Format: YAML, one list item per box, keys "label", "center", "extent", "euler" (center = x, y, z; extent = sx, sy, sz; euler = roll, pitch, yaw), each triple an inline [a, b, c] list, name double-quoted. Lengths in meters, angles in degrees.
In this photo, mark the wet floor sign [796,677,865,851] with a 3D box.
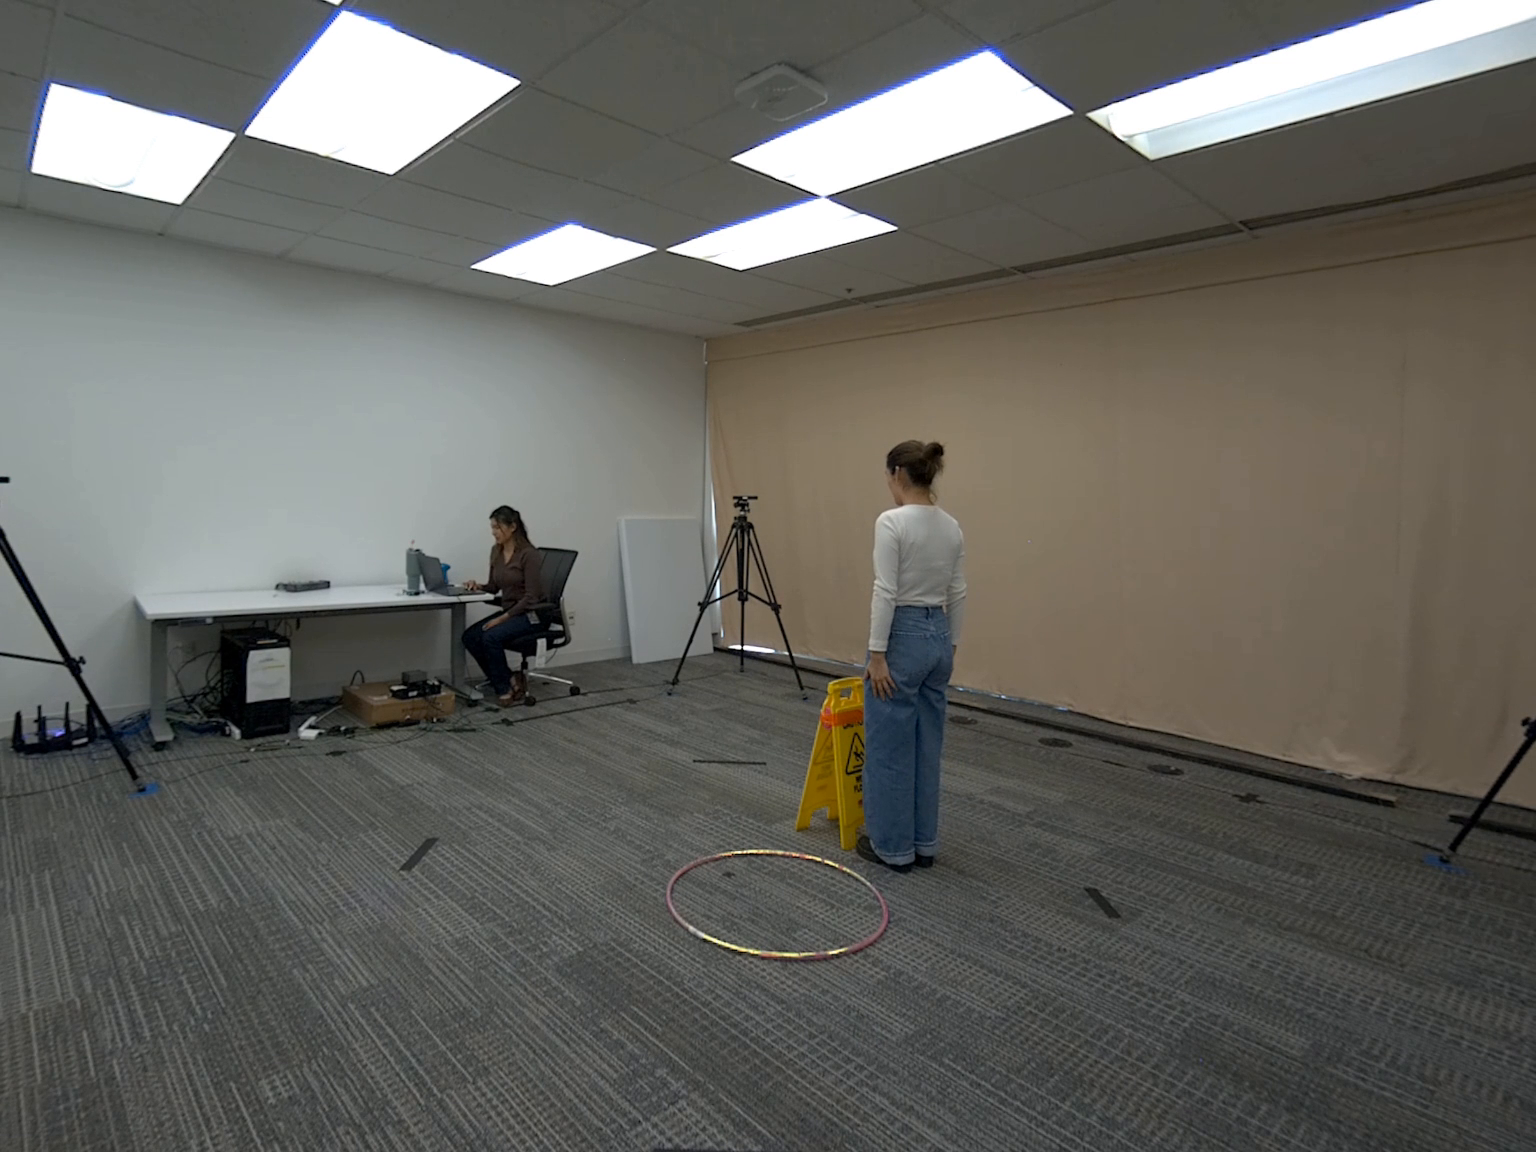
- label: "wet floor sign"
  center: [0.307, 0.753, 3.518]
  extent: [0.275, 0.645, 0.297]
  euler: [0, 3, -43]
